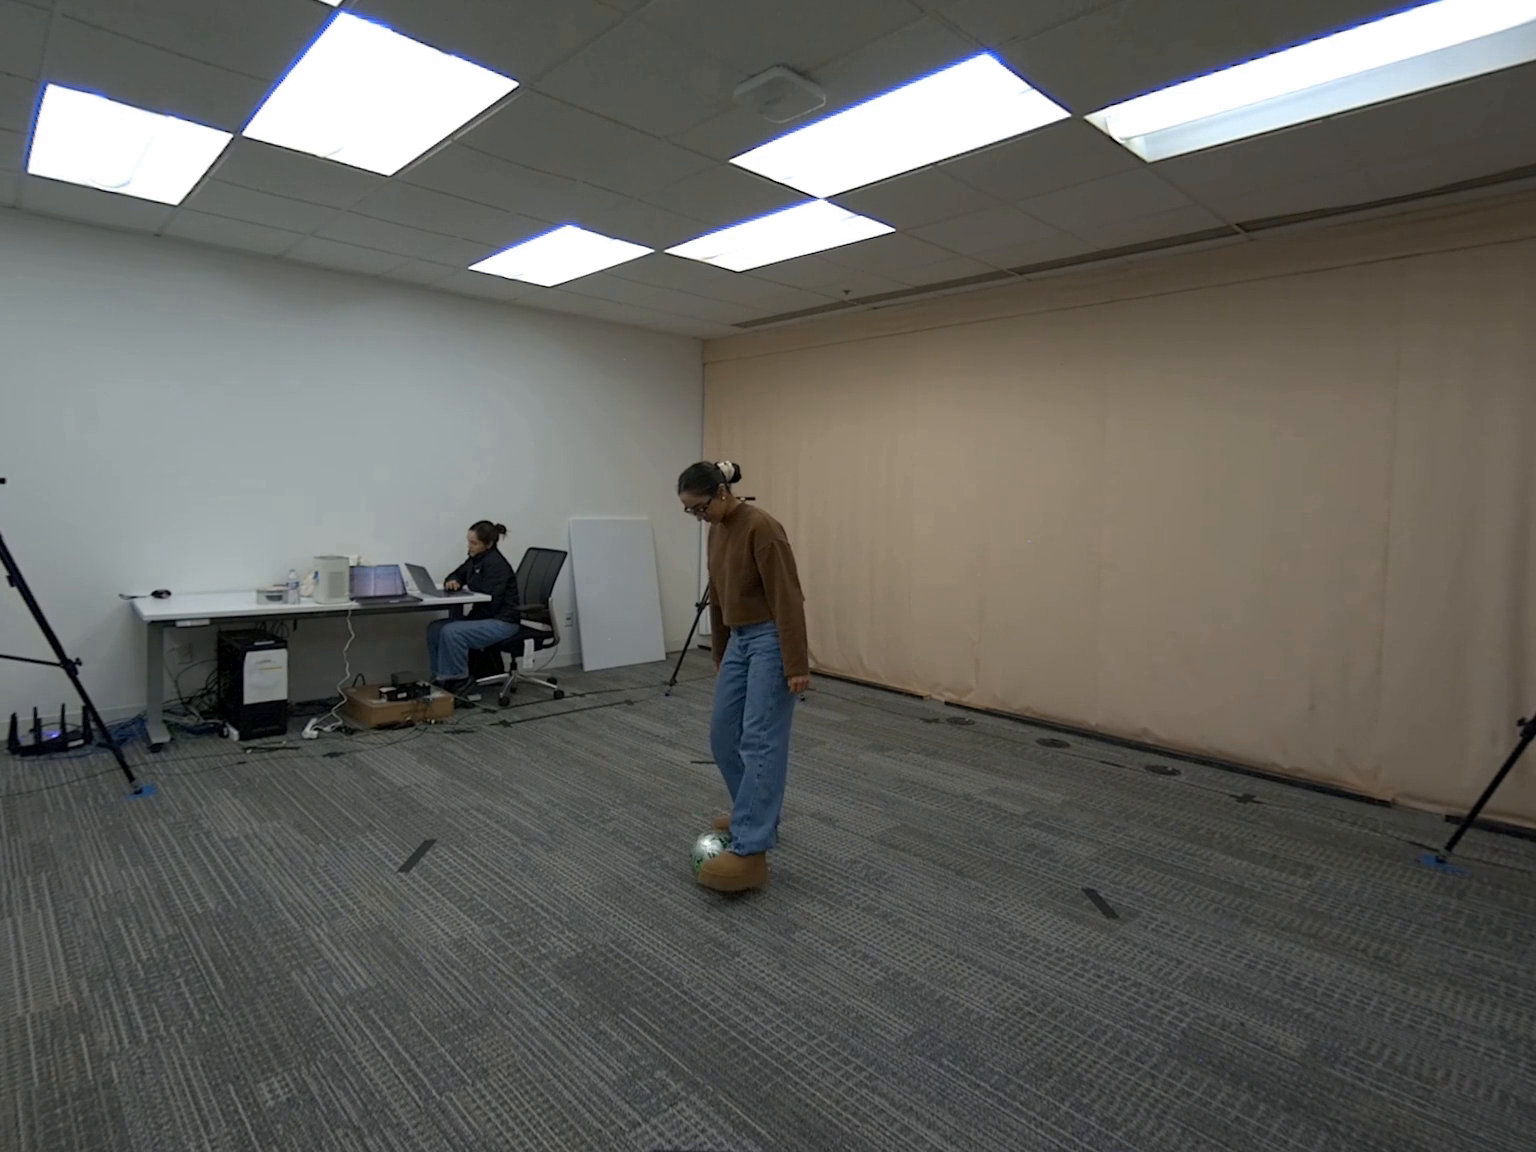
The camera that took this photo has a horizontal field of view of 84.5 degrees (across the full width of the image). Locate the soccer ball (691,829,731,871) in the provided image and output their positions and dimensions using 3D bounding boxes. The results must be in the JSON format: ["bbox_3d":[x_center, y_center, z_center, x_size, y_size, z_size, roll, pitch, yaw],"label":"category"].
[{"bbox_3d":[-0.199,1.013,3.063,0.187,0.187,0.188,1,4,-1],"label":"soccer ball"}]
